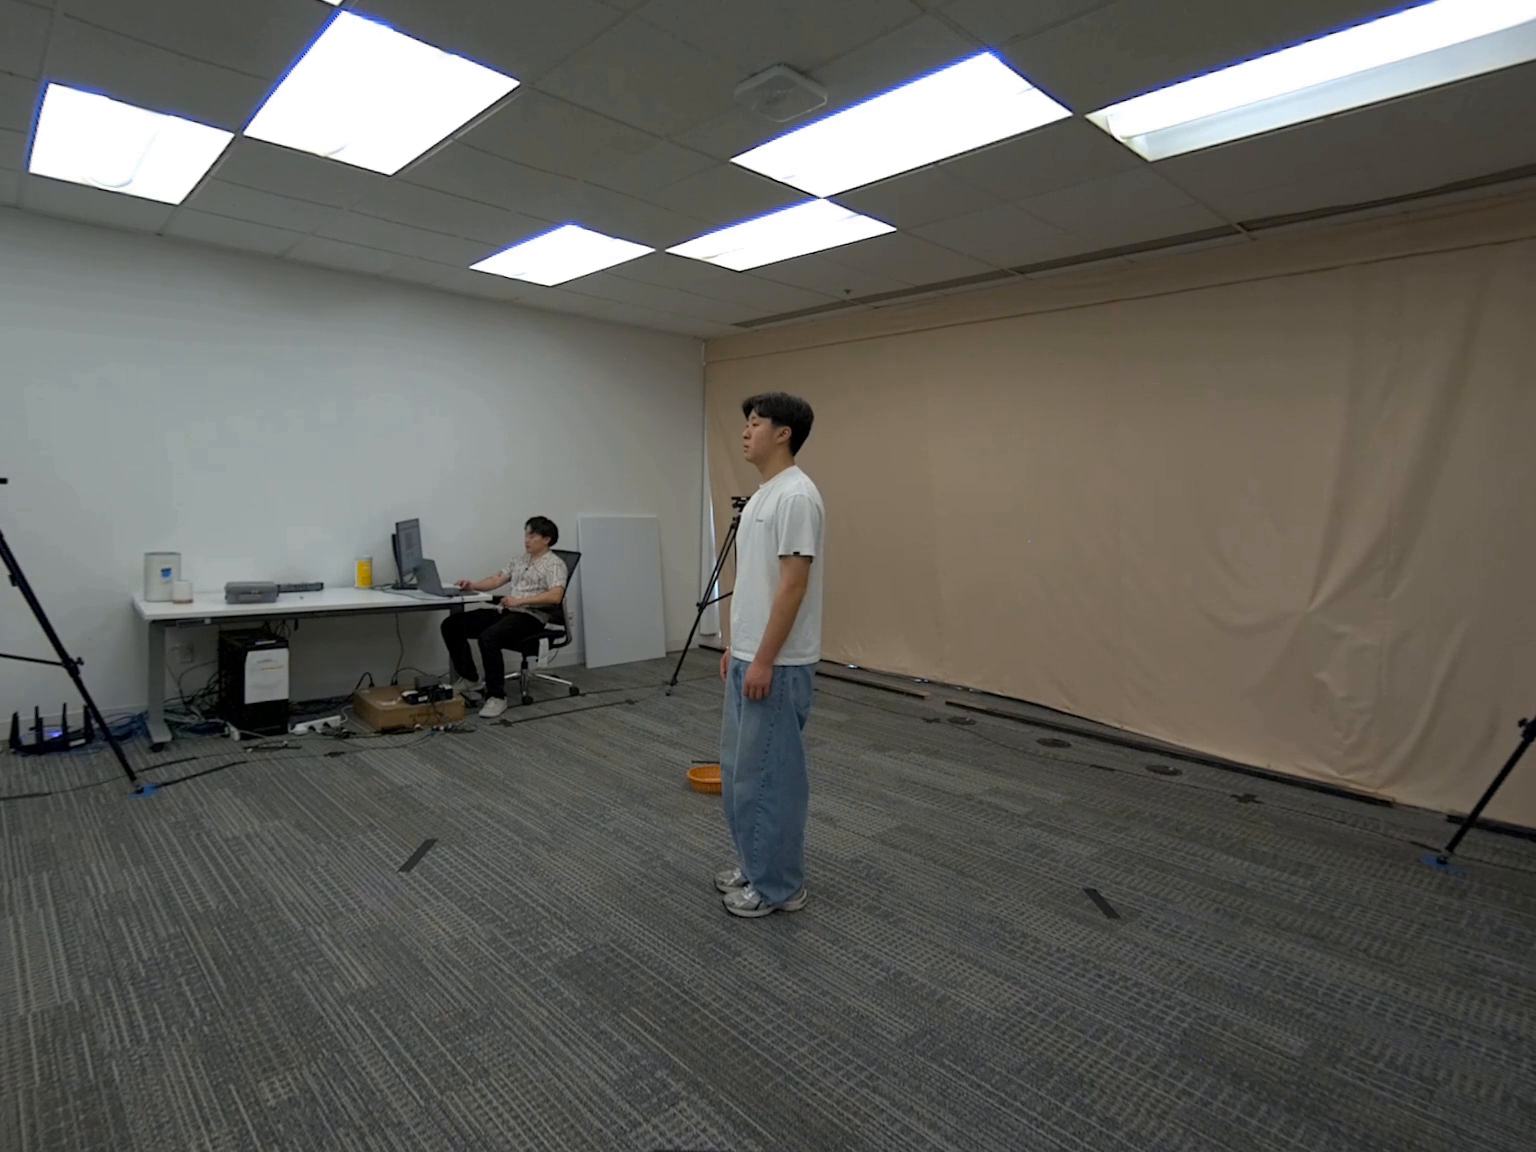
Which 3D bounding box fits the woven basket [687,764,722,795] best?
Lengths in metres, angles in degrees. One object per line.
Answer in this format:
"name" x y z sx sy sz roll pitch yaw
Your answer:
"woven basket" -0.232 0.982 4.068 0.349 0.073 0.254 1 5 -3
